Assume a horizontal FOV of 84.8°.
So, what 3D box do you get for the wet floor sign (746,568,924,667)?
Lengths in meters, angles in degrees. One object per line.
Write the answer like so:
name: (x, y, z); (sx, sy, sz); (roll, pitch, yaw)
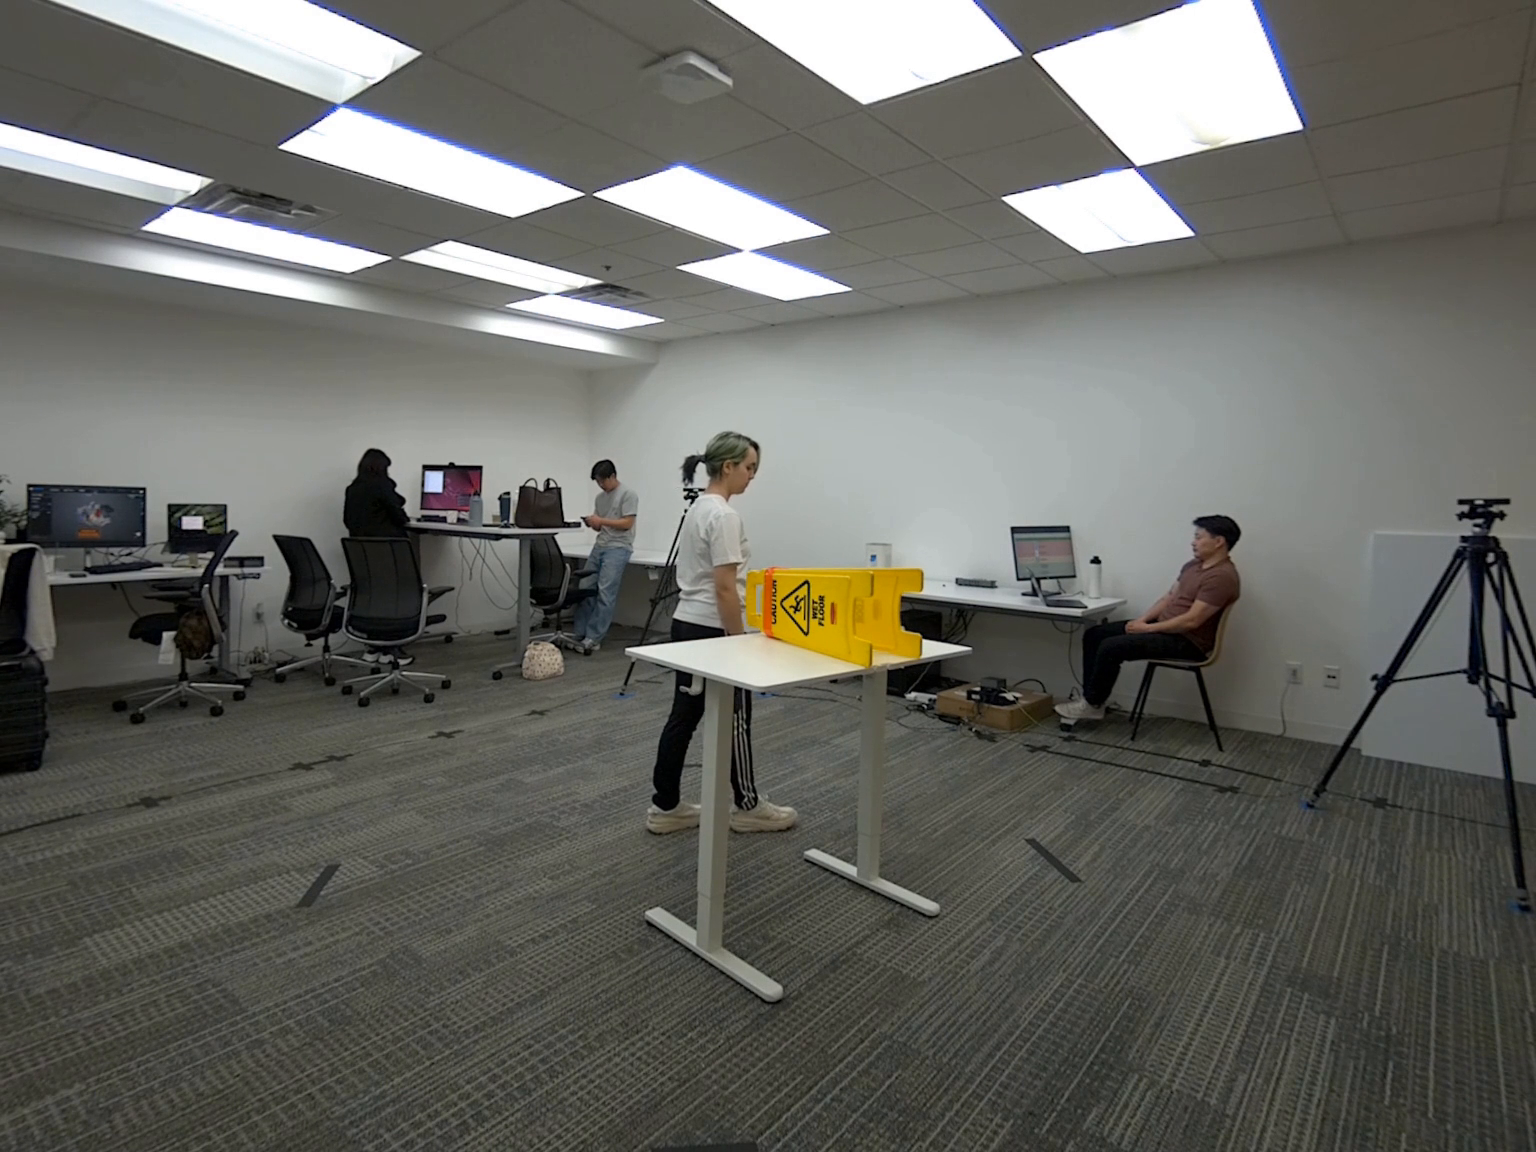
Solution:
wet floor sign: (0.149, 0.100, 2.782); (0.281, 0.281, 0.668); (-2, 5, -44)
